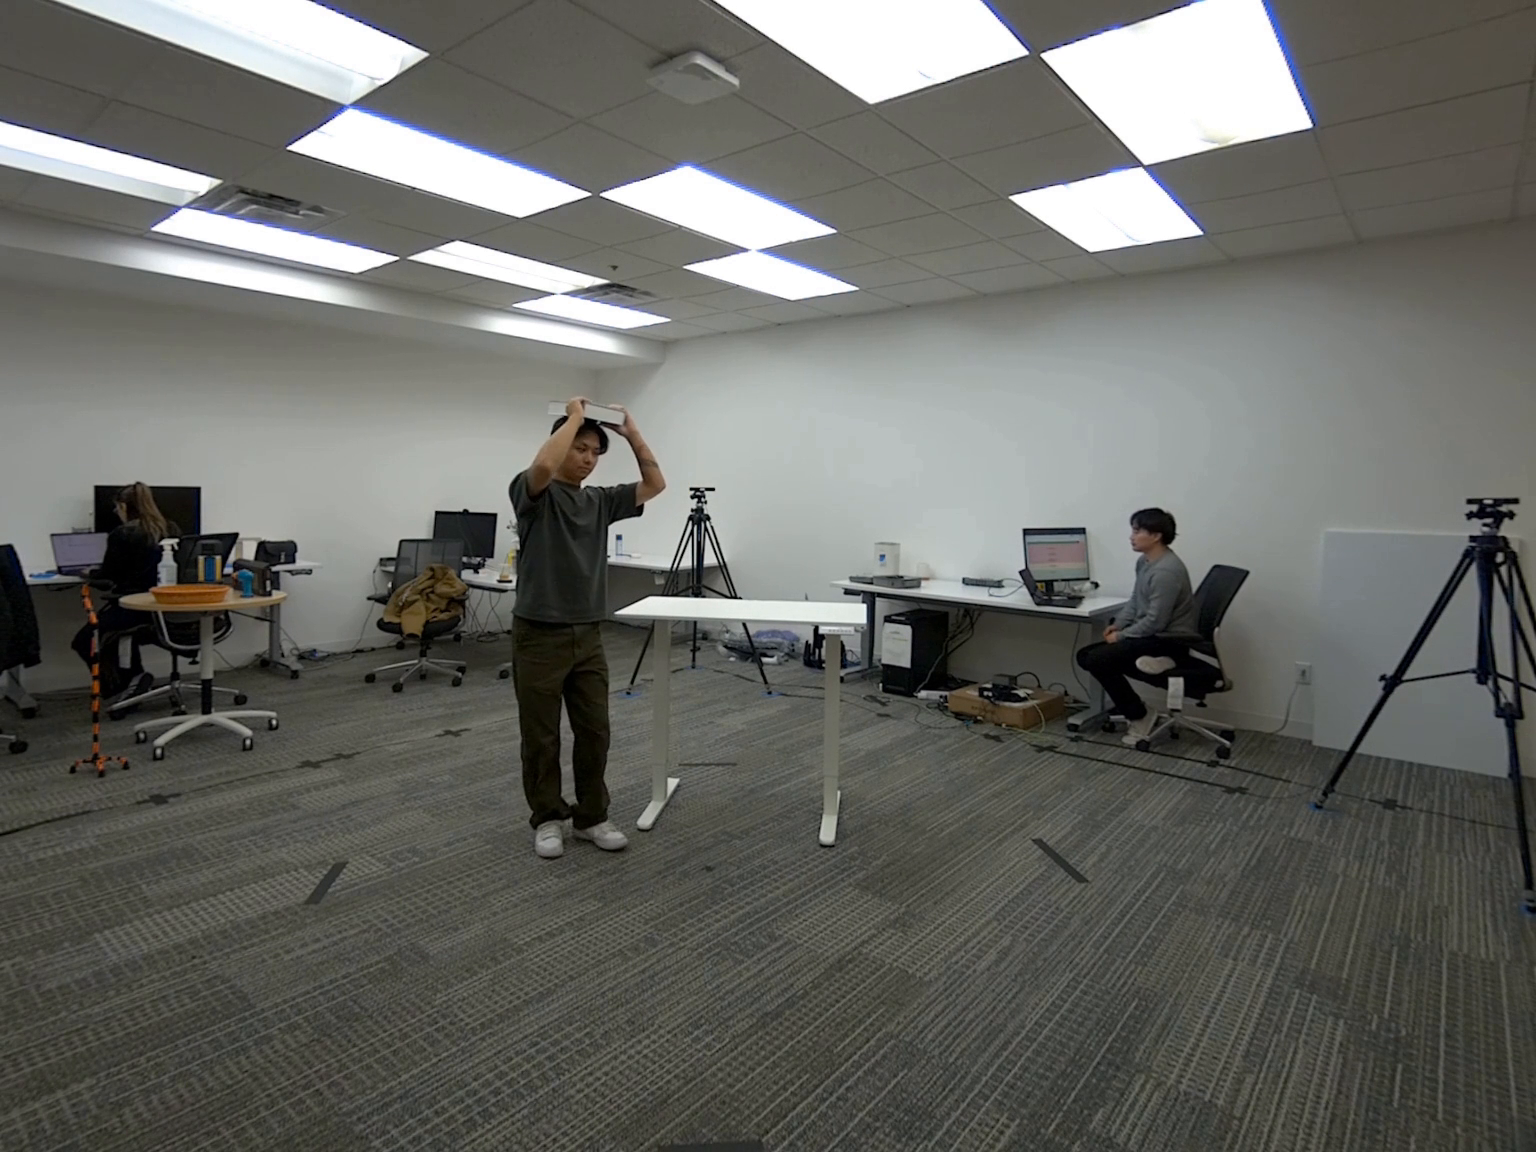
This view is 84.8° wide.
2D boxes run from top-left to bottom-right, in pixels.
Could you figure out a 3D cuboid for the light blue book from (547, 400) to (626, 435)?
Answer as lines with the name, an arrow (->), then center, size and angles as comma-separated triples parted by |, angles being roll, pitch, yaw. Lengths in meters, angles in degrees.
light blue book -> -0.718, -0.631, 3.278 | 0.185, 0.059, 0.271 | 5, 6, -45
